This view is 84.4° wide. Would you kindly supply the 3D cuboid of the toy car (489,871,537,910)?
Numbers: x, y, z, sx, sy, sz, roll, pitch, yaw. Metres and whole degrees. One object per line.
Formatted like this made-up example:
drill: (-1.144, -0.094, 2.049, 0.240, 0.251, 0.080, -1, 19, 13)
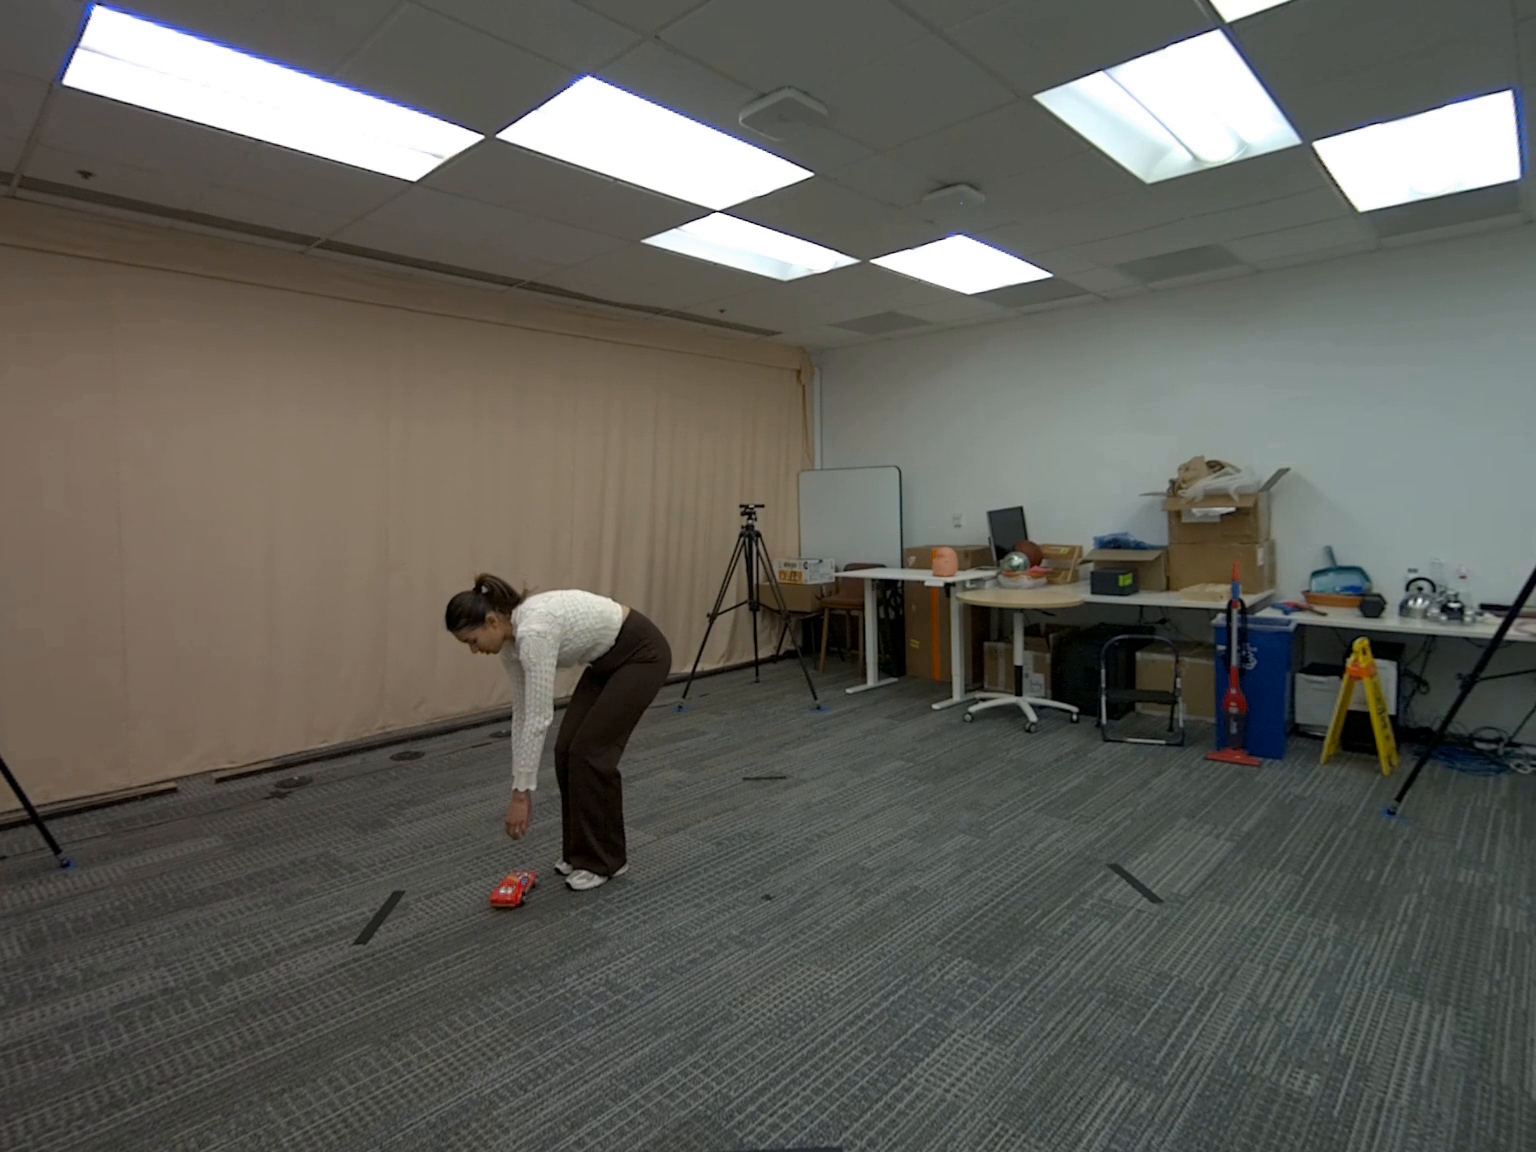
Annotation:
toy car: (-0.919, 1.129, 3.014, 0.131, 0.083, 0.251, 1, -7, 6)
